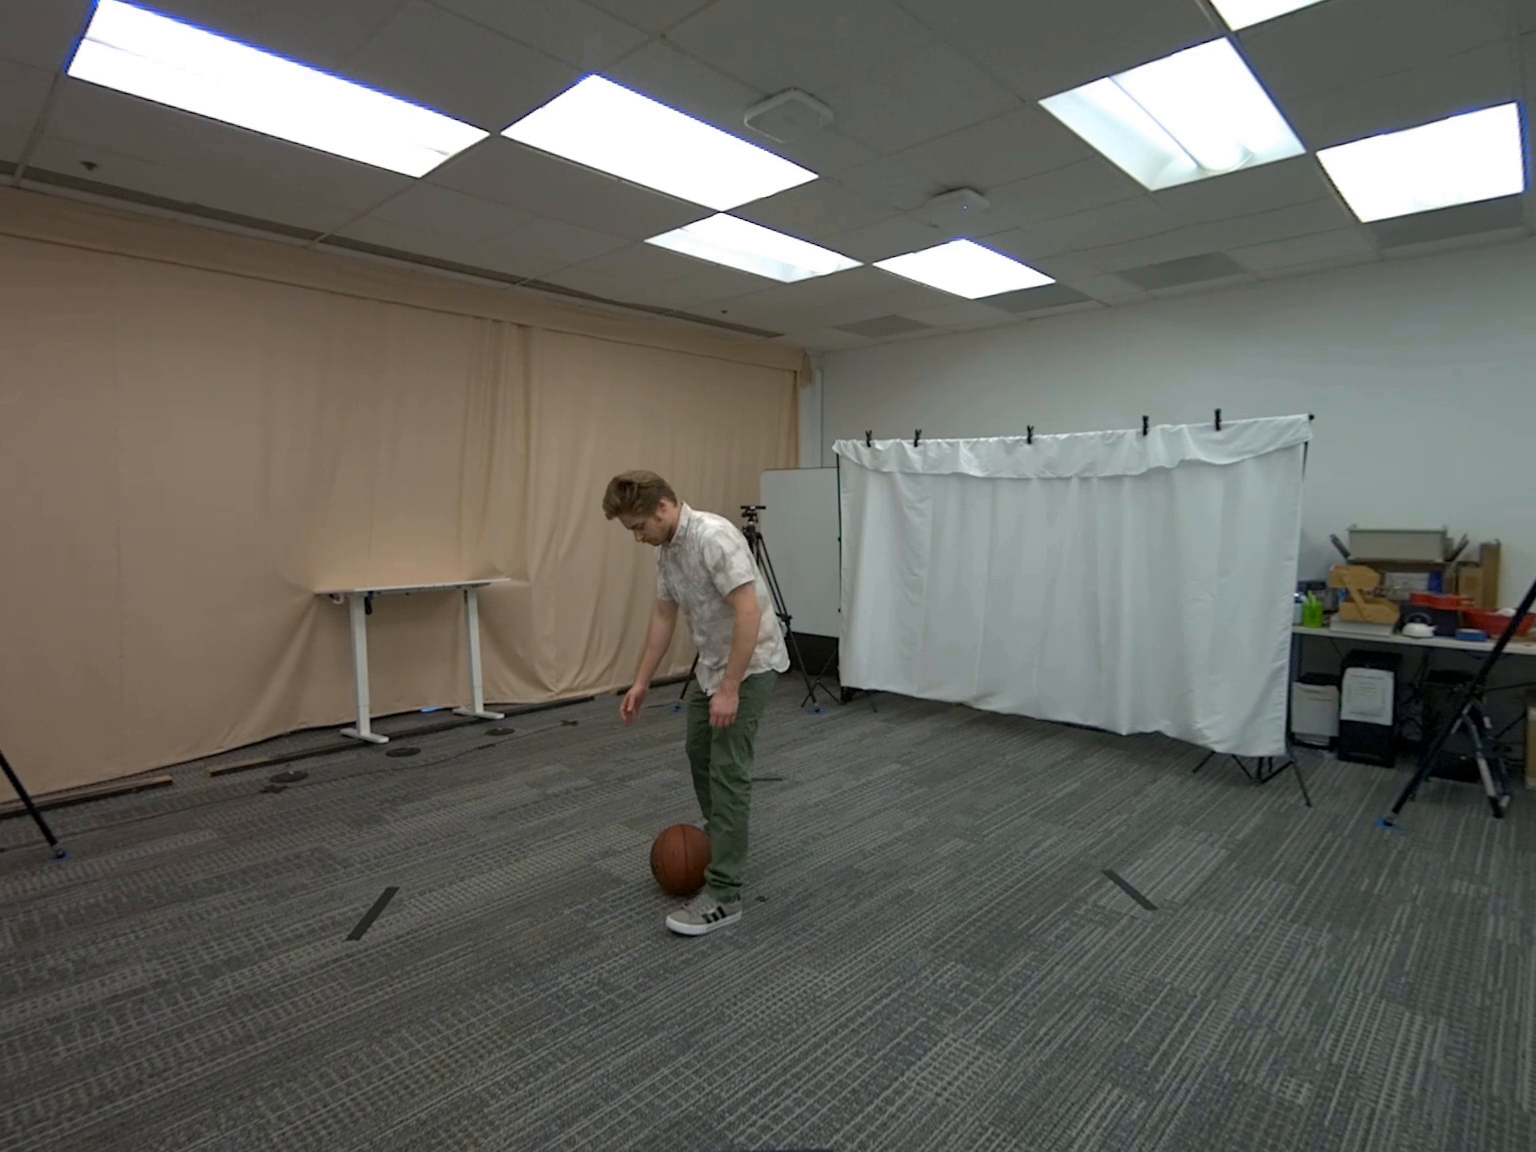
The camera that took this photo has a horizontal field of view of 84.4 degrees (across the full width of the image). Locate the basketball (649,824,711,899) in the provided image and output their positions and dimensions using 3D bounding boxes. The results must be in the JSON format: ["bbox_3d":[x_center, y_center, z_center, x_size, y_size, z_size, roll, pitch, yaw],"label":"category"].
[{"bbox_3d":[-0.307,1.016,3.039,0.236,0.235,0.237,0,4,-2],"label":"basketball"}]
